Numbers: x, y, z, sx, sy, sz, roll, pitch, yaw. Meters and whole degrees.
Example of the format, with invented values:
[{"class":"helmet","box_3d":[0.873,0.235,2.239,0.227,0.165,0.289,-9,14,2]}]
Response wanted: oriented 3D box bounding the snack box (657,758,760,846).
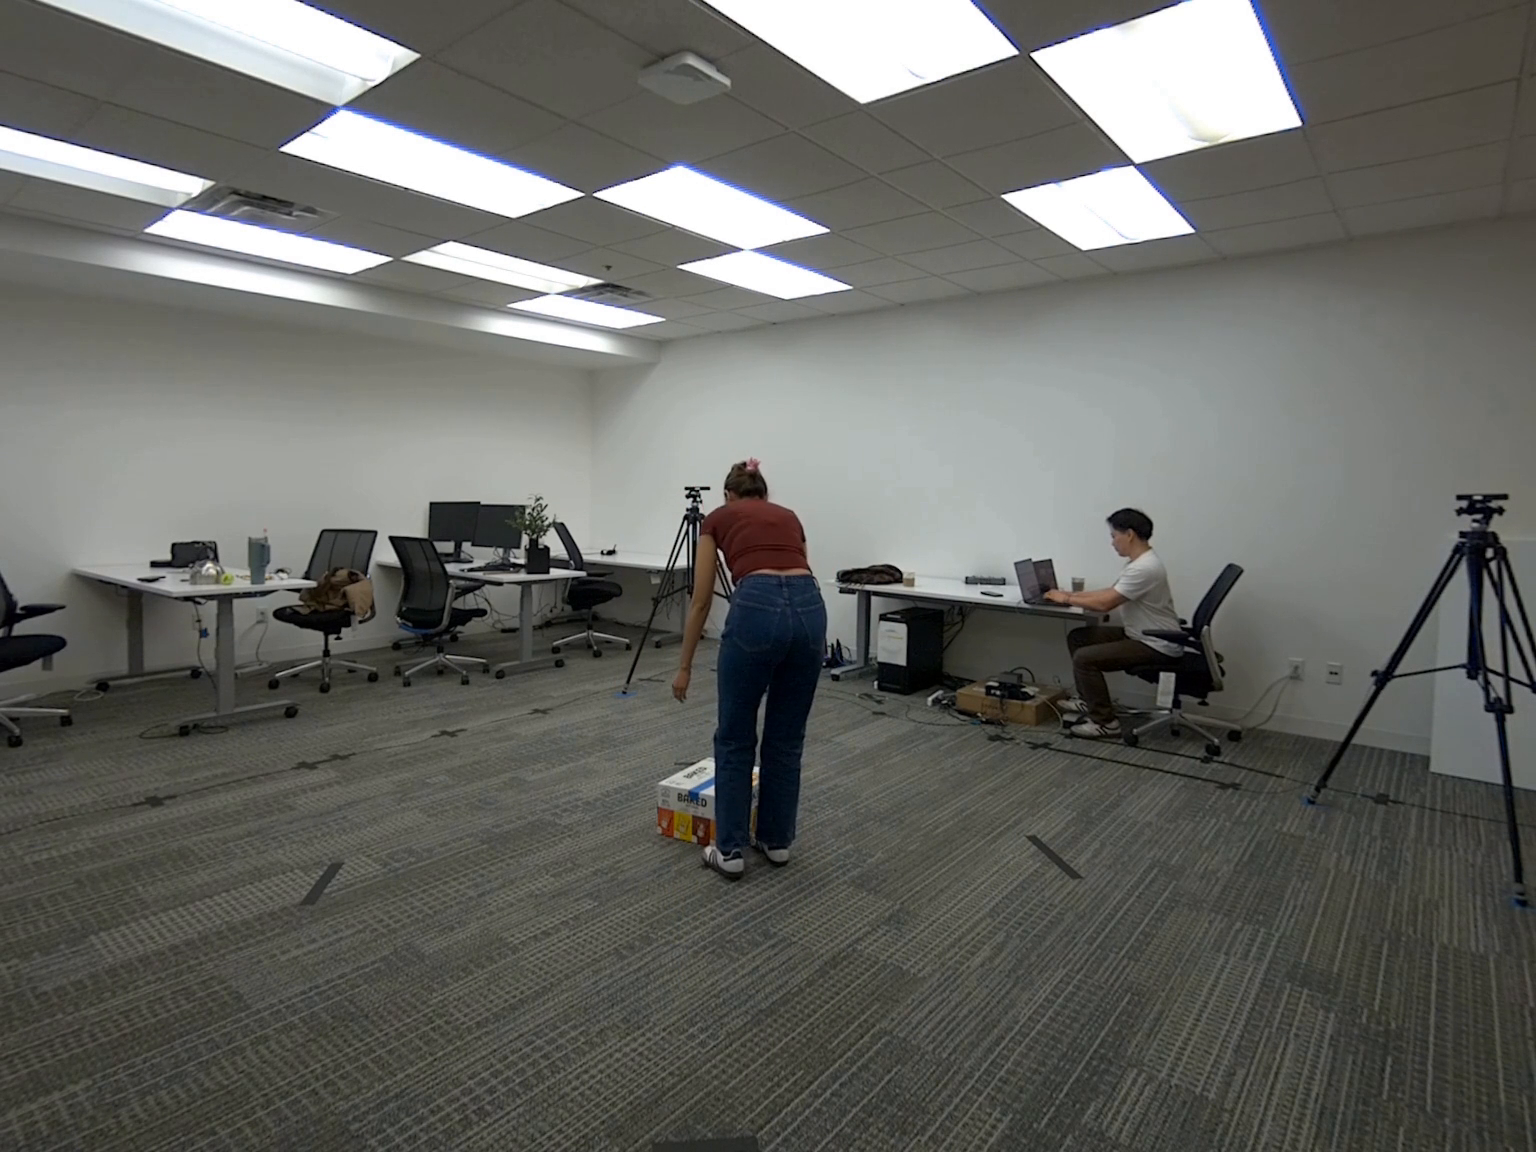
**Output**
[{"class":"snack box","box_3d":[-0.214,0.923,3.497,0.350,0.205,0.395,4,6,29]}]
